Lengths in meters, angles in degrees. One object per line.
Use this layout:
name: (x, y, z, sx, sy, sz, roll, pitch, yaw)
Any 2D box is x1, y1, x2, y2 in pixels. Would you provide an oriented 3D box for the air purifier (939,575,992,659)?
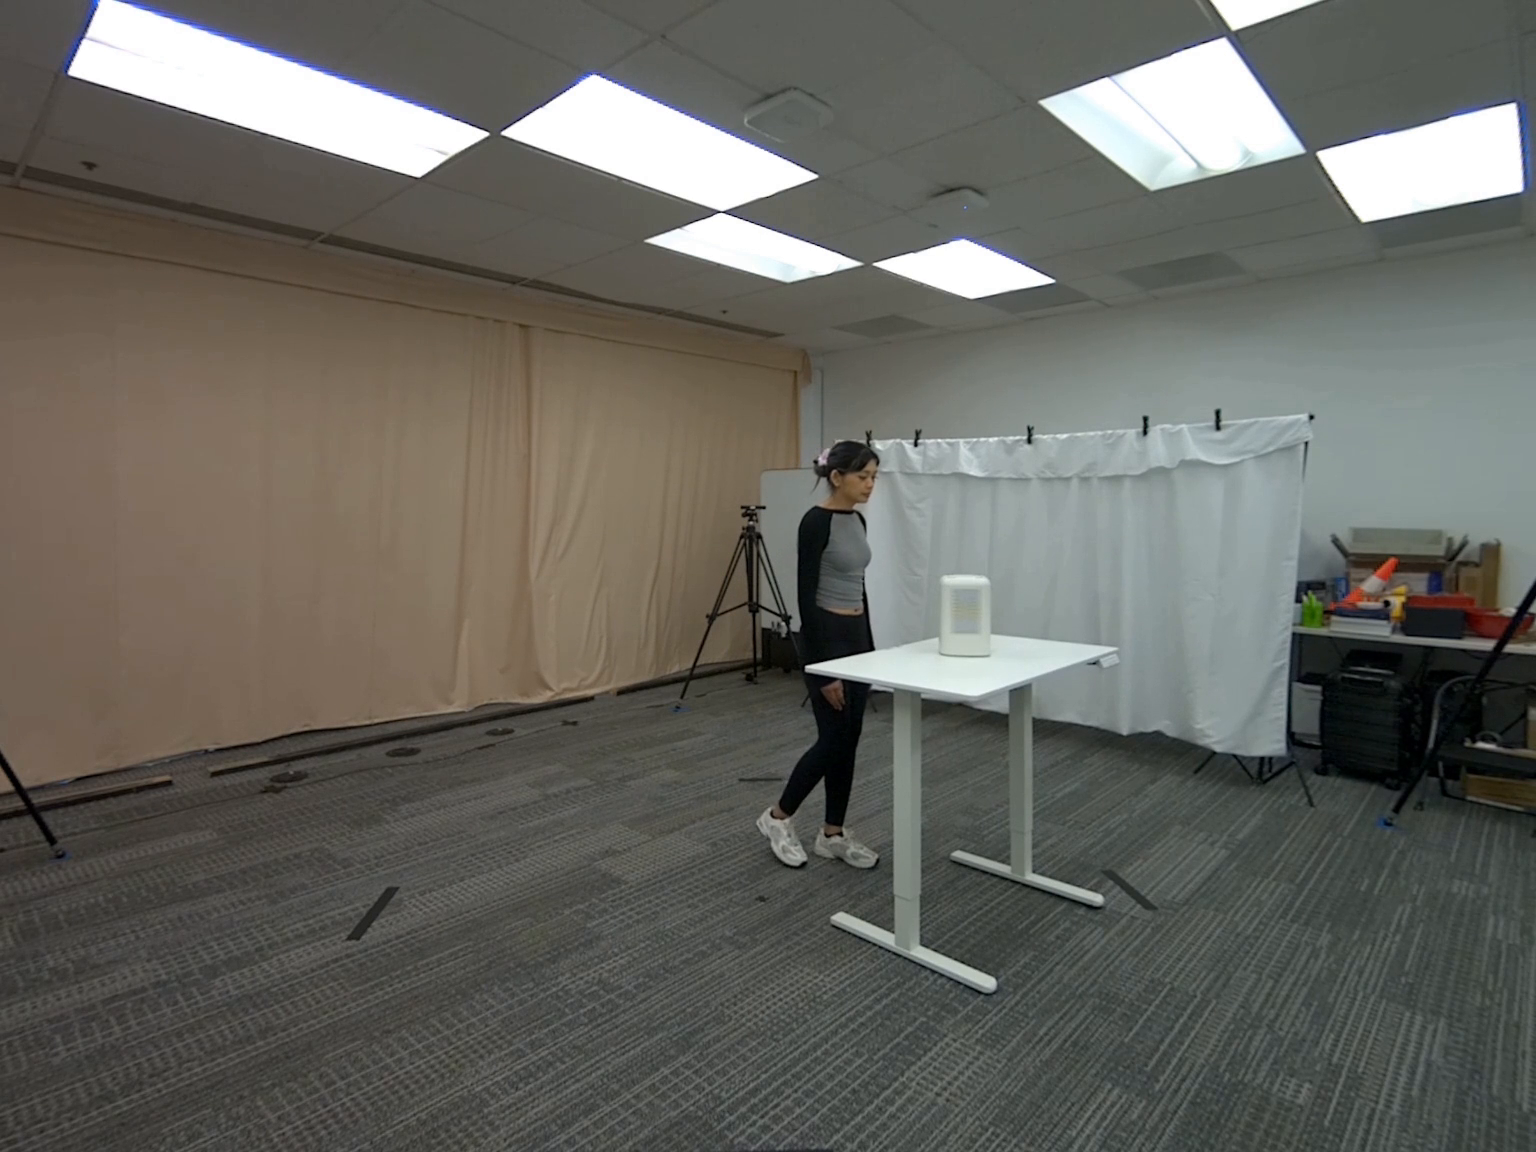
air purifier: (0.685, 0.133, 2.901, 0.174, 0.265, 0.169, 0, 4, 11)
